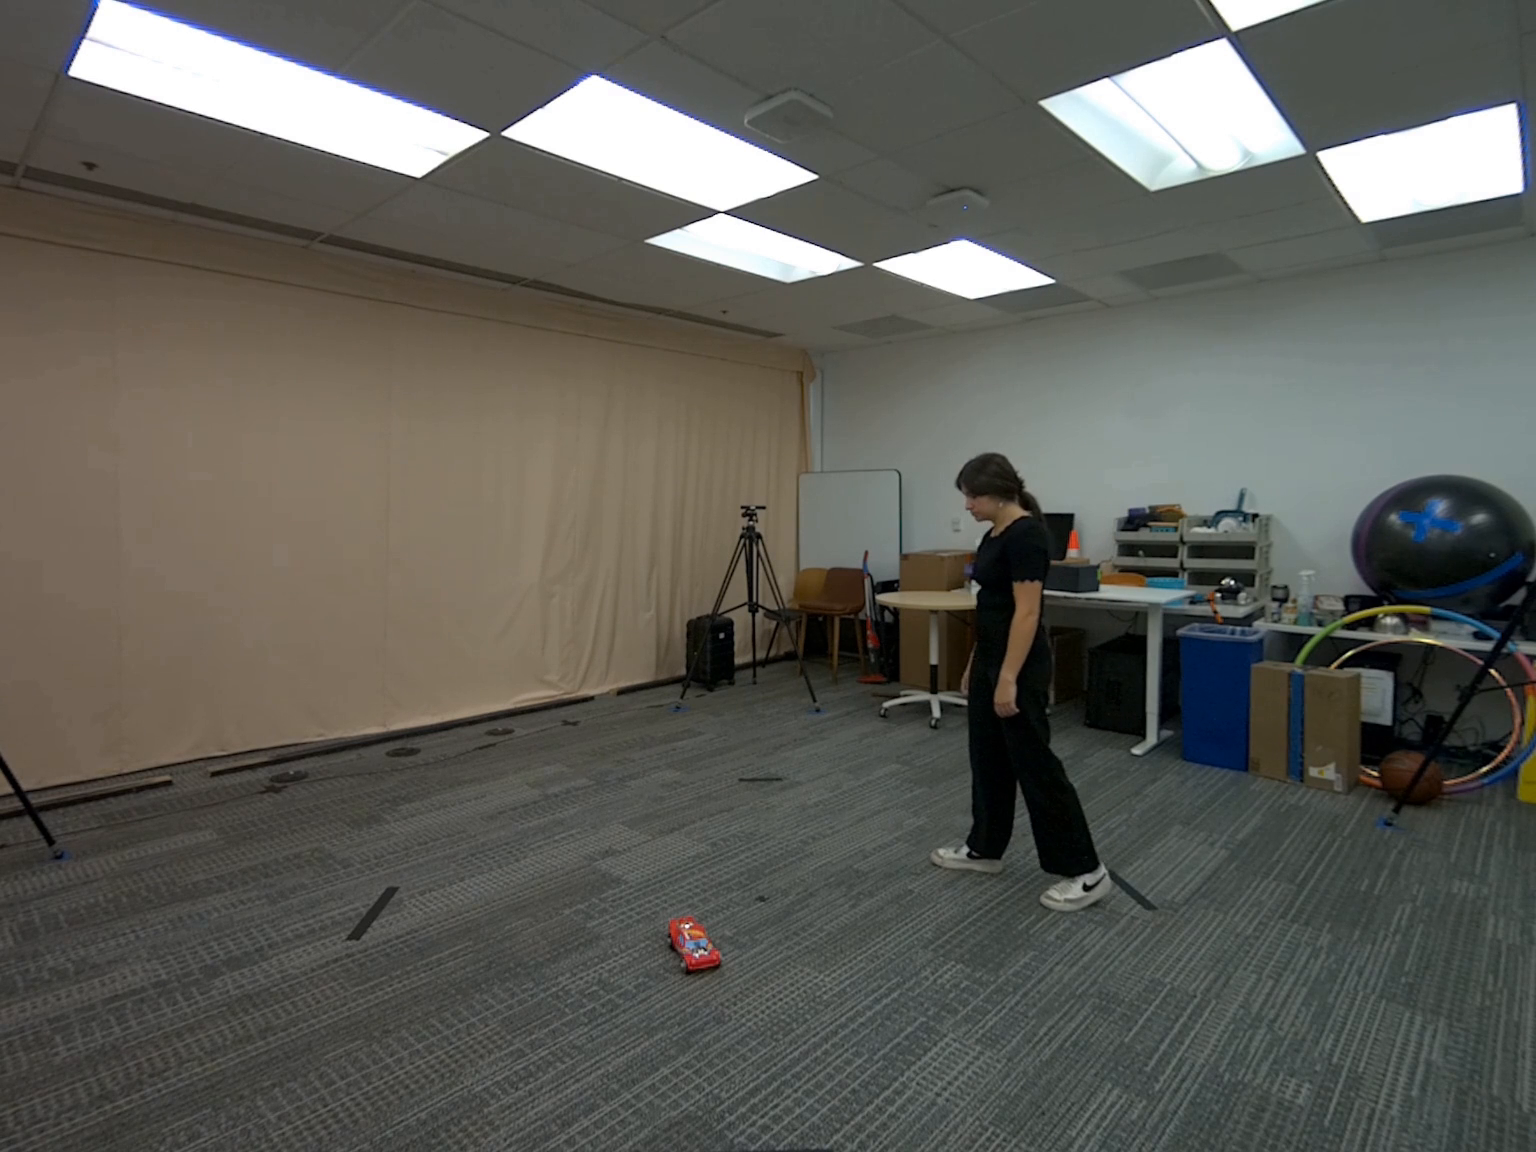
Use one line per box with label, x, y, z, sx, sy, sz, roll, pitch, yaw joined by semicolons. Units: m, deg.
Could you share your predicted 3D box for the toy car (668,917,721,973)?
toy car;-0.236;1.145;2.612;0.128;0.082;0.262;-2;15;-21
